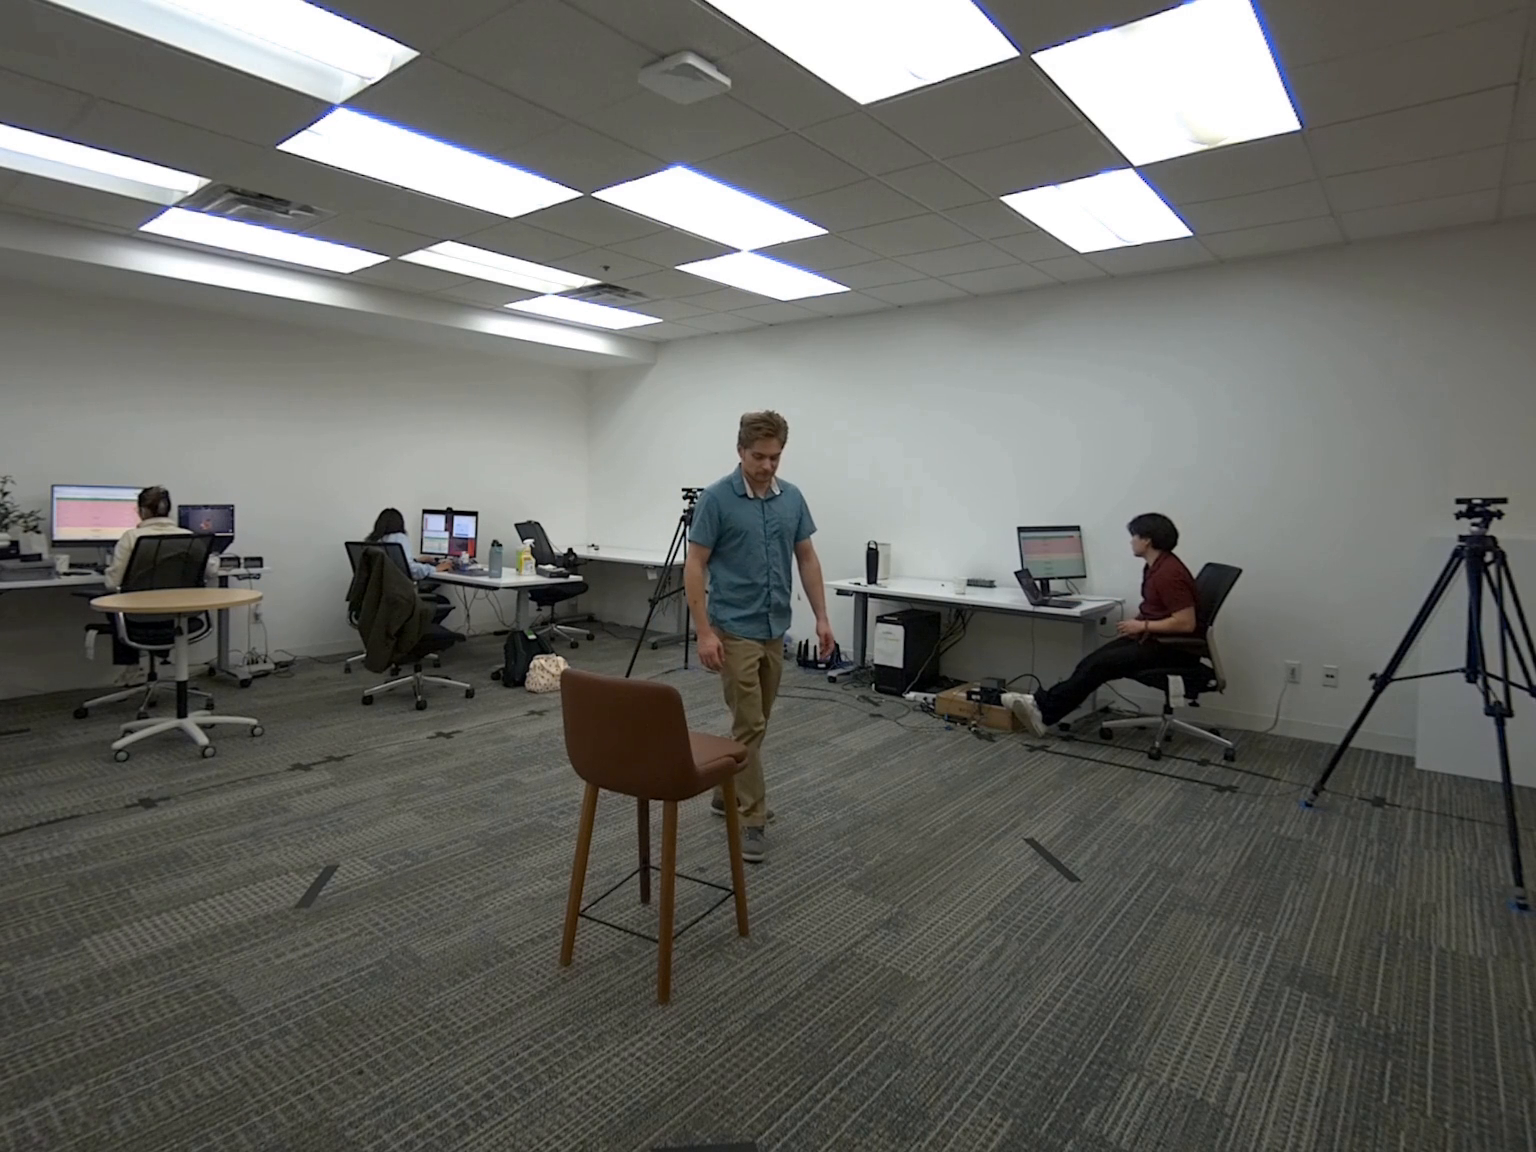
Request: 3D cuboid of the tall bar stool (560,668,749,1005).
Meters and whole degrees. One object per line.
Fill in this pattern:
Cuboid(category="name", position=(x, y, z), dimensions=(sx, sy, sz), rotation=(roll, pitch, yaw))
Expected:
Cuboid(category="tall bar stool", position=(-0.349, 0.686, 2.547), dimensions=(0.470, 0.885, 0.456), rotation=(2, 6, 29))
